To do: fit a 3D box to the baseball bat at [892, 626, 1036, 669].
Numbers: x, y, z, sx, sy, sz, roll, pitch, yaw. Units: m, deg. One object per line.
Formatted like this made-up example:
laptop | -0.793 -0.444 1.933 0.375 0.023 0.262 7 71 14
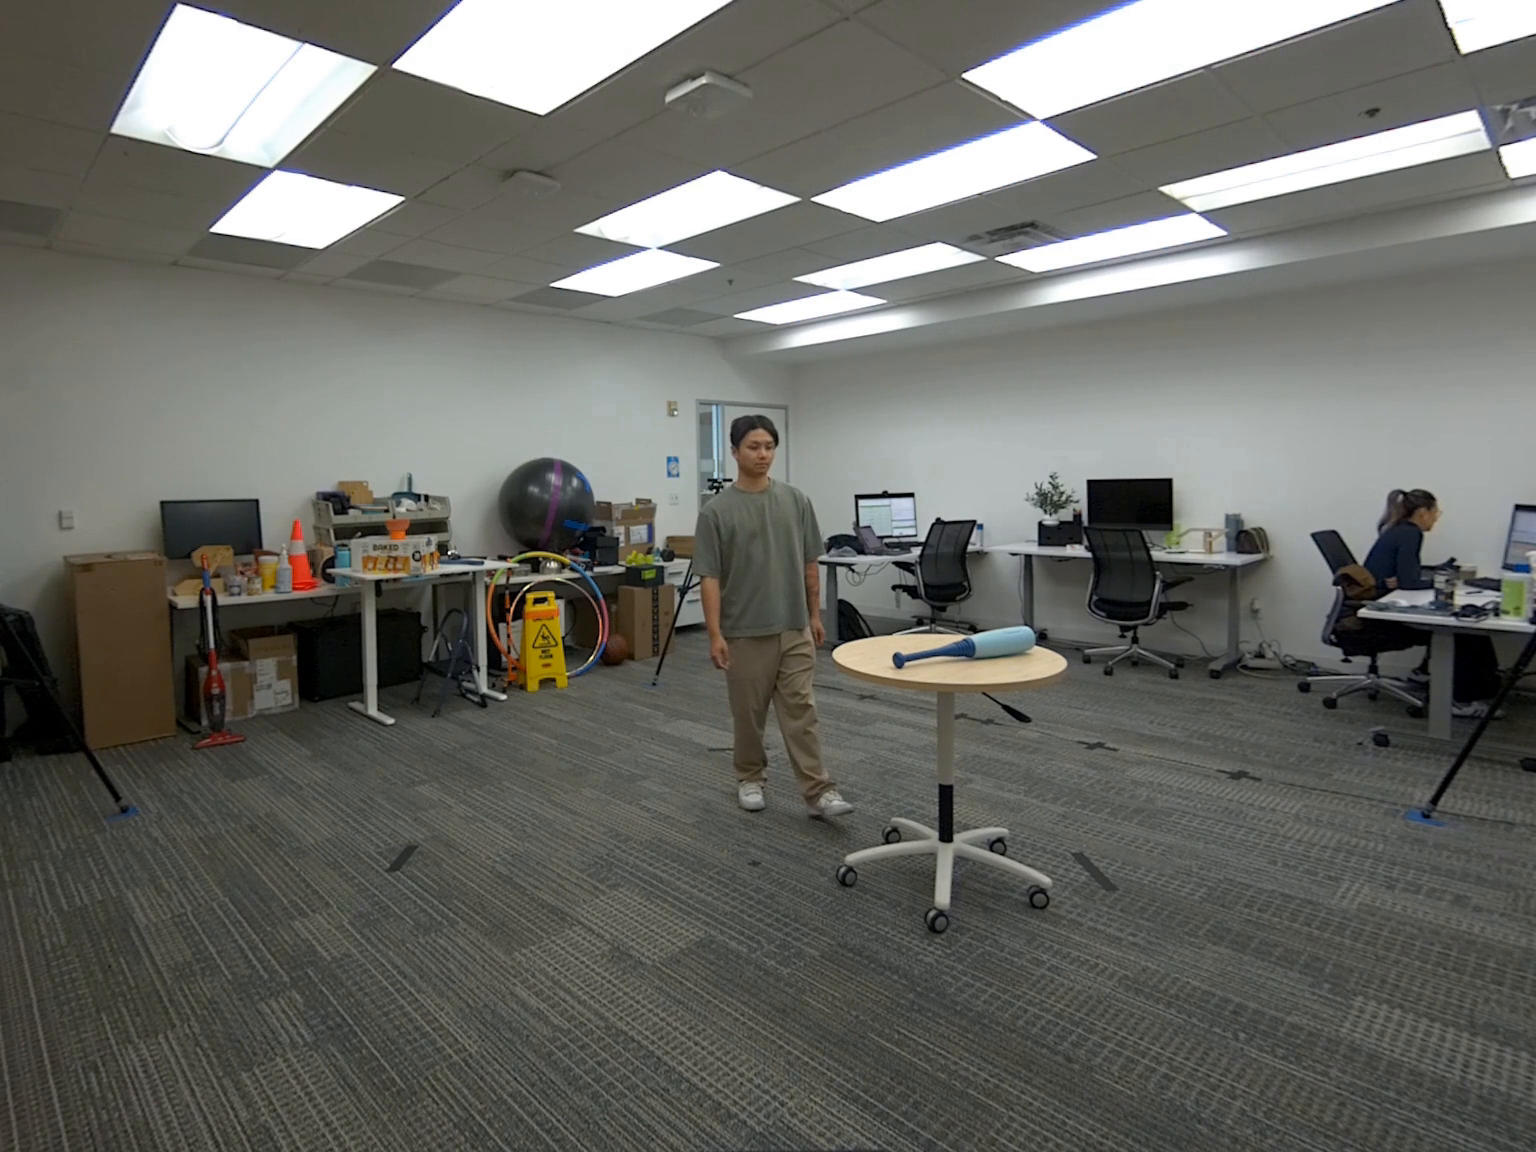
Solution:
baseball bat | 0.652 0.243 2.835 0.533 0.088 0.091 -7 7 -22
